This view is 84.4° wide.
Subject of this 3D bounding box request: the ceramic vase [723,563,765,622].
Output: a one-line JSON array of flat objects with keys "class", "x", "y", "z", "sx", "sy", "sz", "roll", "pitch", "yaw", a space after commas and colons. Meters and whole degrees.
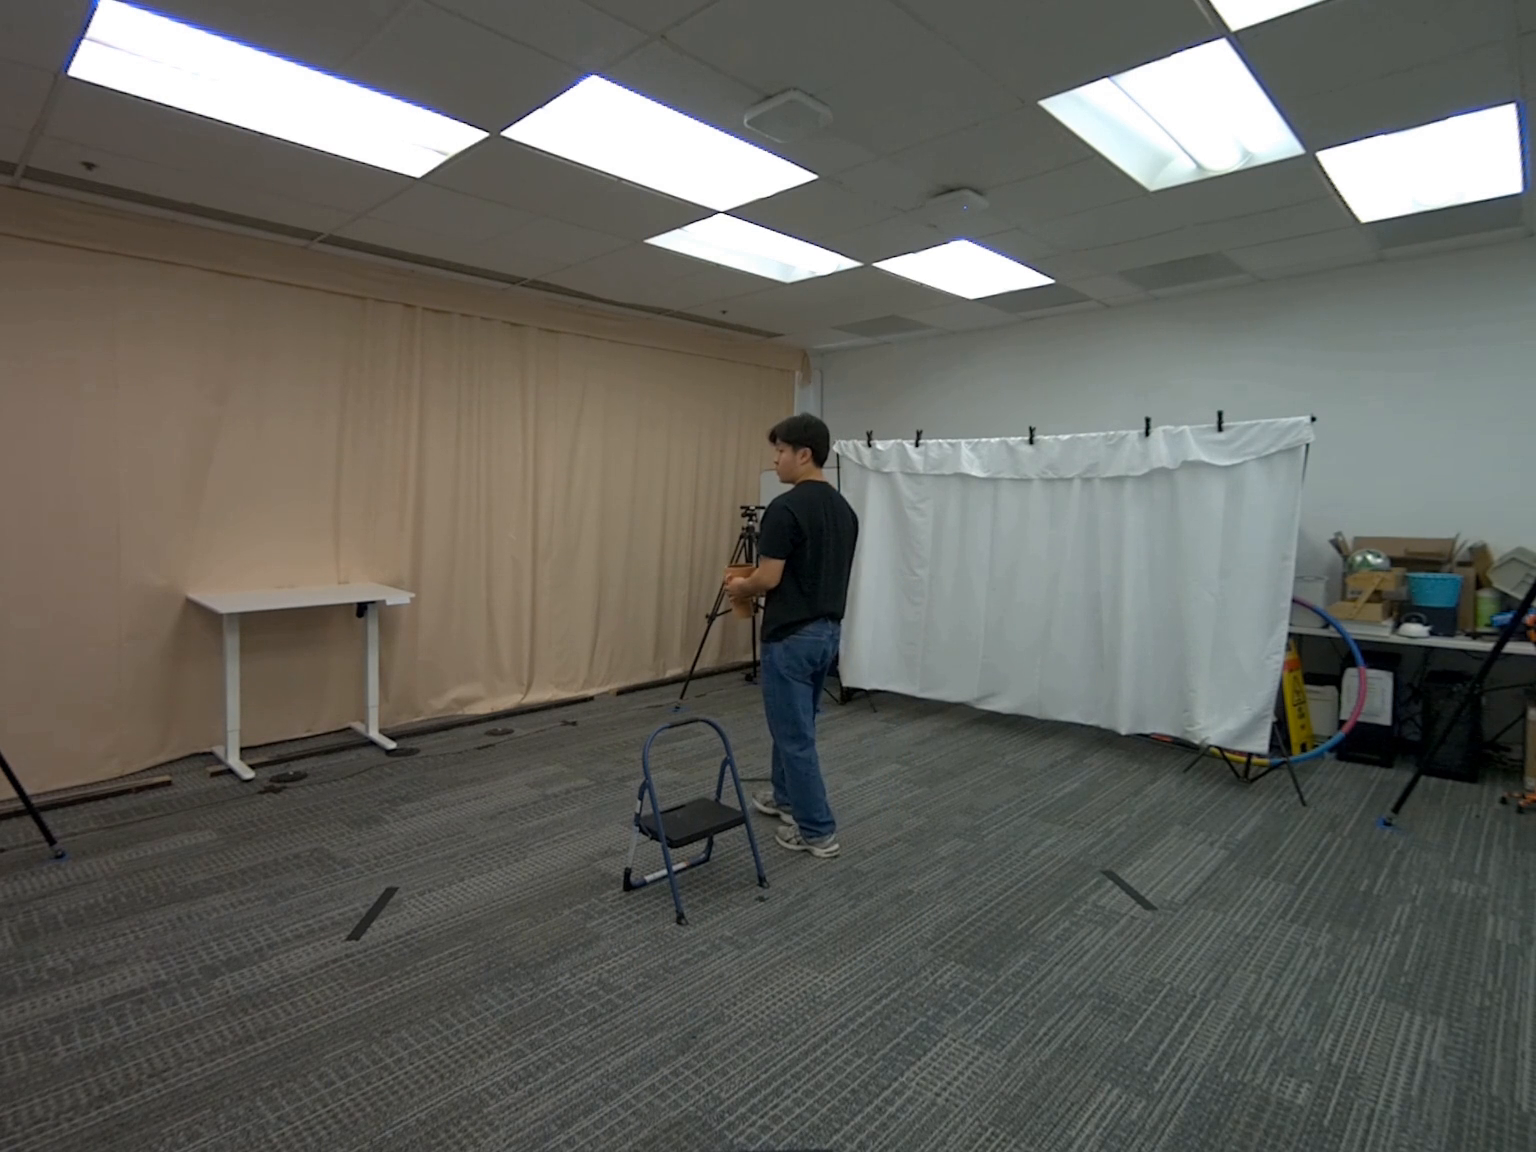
[{"class": "ceramic vase", "x": -0.102, "y": 0.065, "z": 3.626, "sx": 0.157, "sy": 0.218, "sz": 0.136, "roll": -3, "pitch": 8, "yaw": -9}]
